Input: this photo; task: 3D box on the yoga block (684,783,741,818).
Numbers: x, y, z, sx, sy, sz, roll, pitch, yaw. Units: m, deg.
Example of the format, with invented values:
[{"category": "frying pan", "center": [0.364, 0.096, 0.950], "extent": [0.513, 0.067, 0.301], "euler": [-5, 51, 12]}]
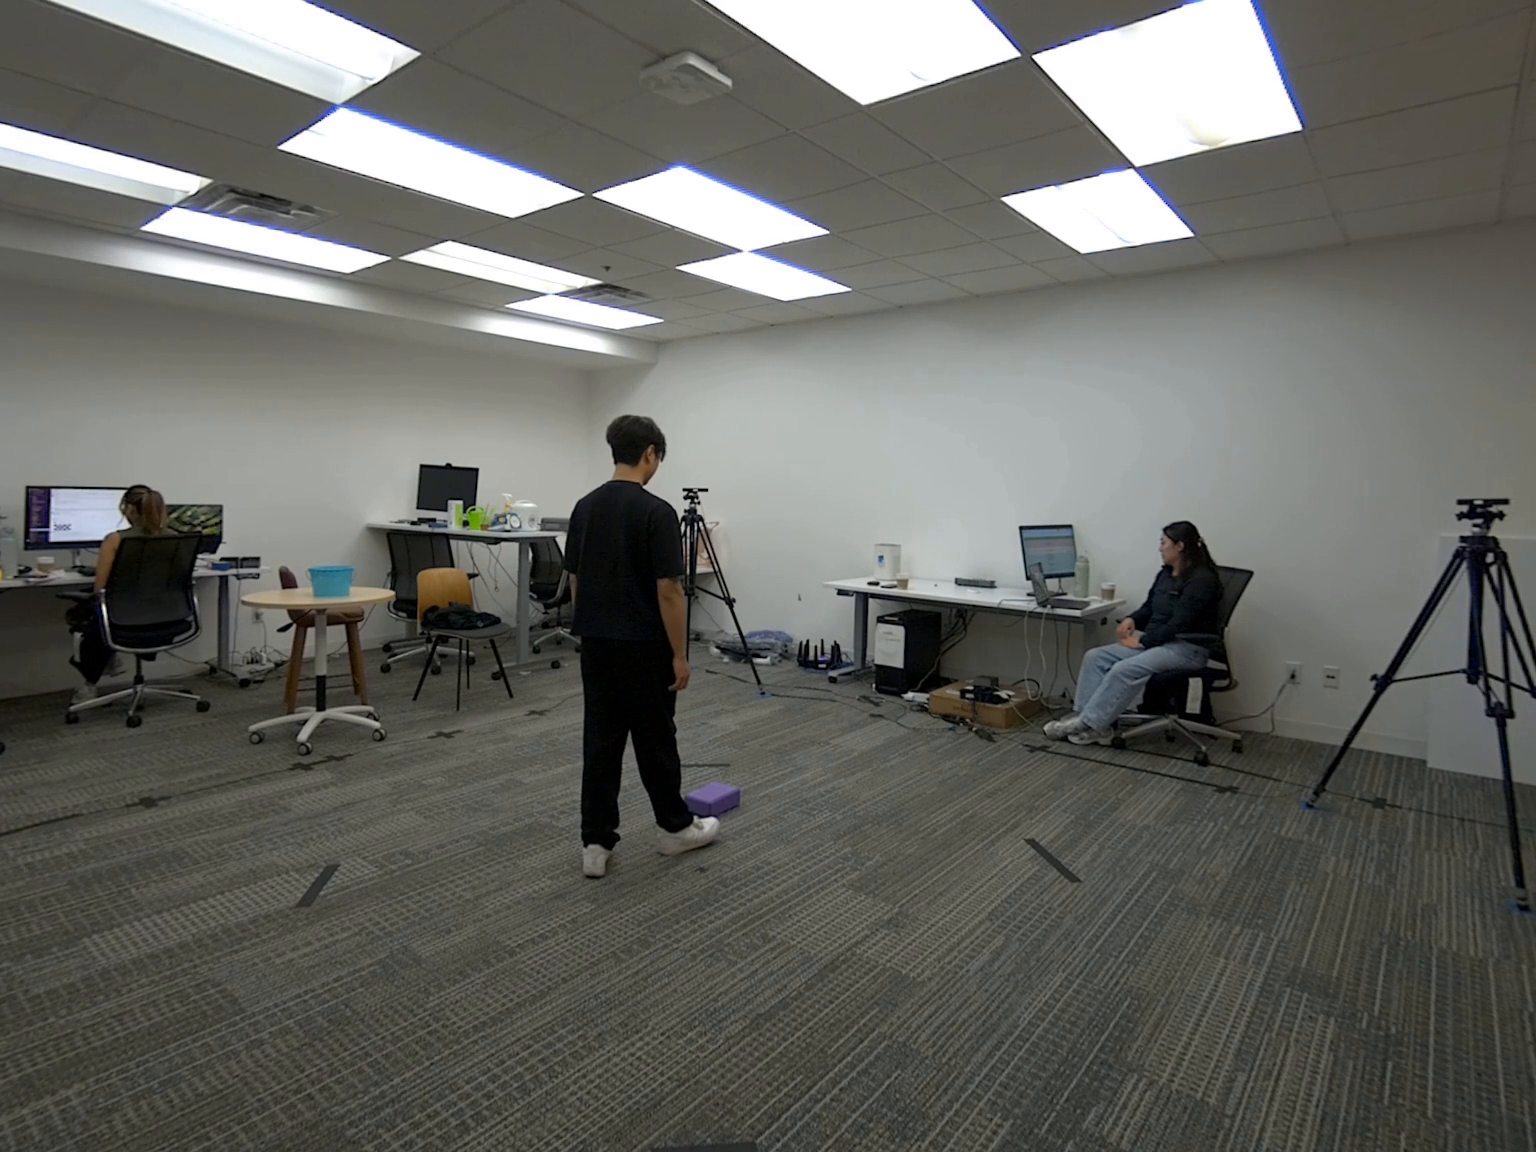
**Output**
[{"category": "yoga block", "center": [-0.253, 0.971, 3.702], "extent": [0.154, 0.076, 0.223], "euler": [4, 6, 34]}]
